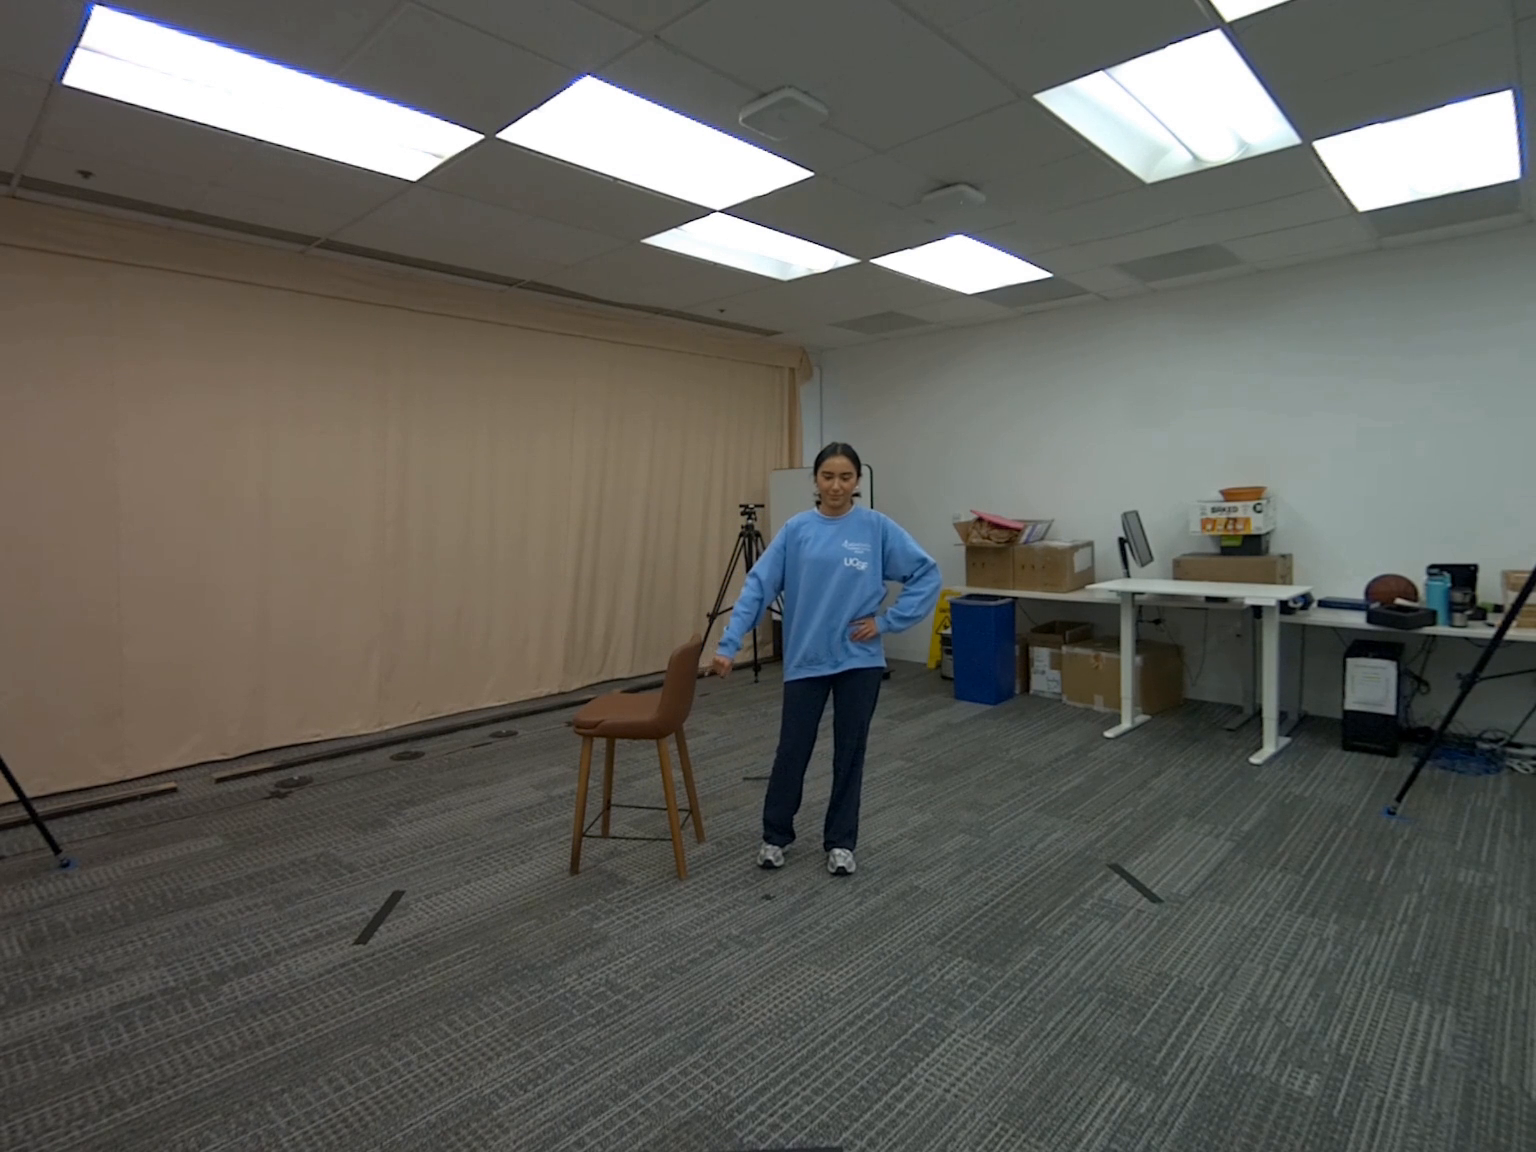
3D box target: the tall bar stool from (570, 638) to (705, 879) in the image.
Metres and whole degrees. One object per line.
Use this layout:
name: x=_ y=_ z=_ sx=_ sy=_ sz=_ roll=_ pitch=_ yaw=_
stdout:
tall bar stool: x=-0.511 y=0.686 z=3.340 sx=0.473 sy=0.888 sz=0.452 roll=1 pitch=4 yaw=10
